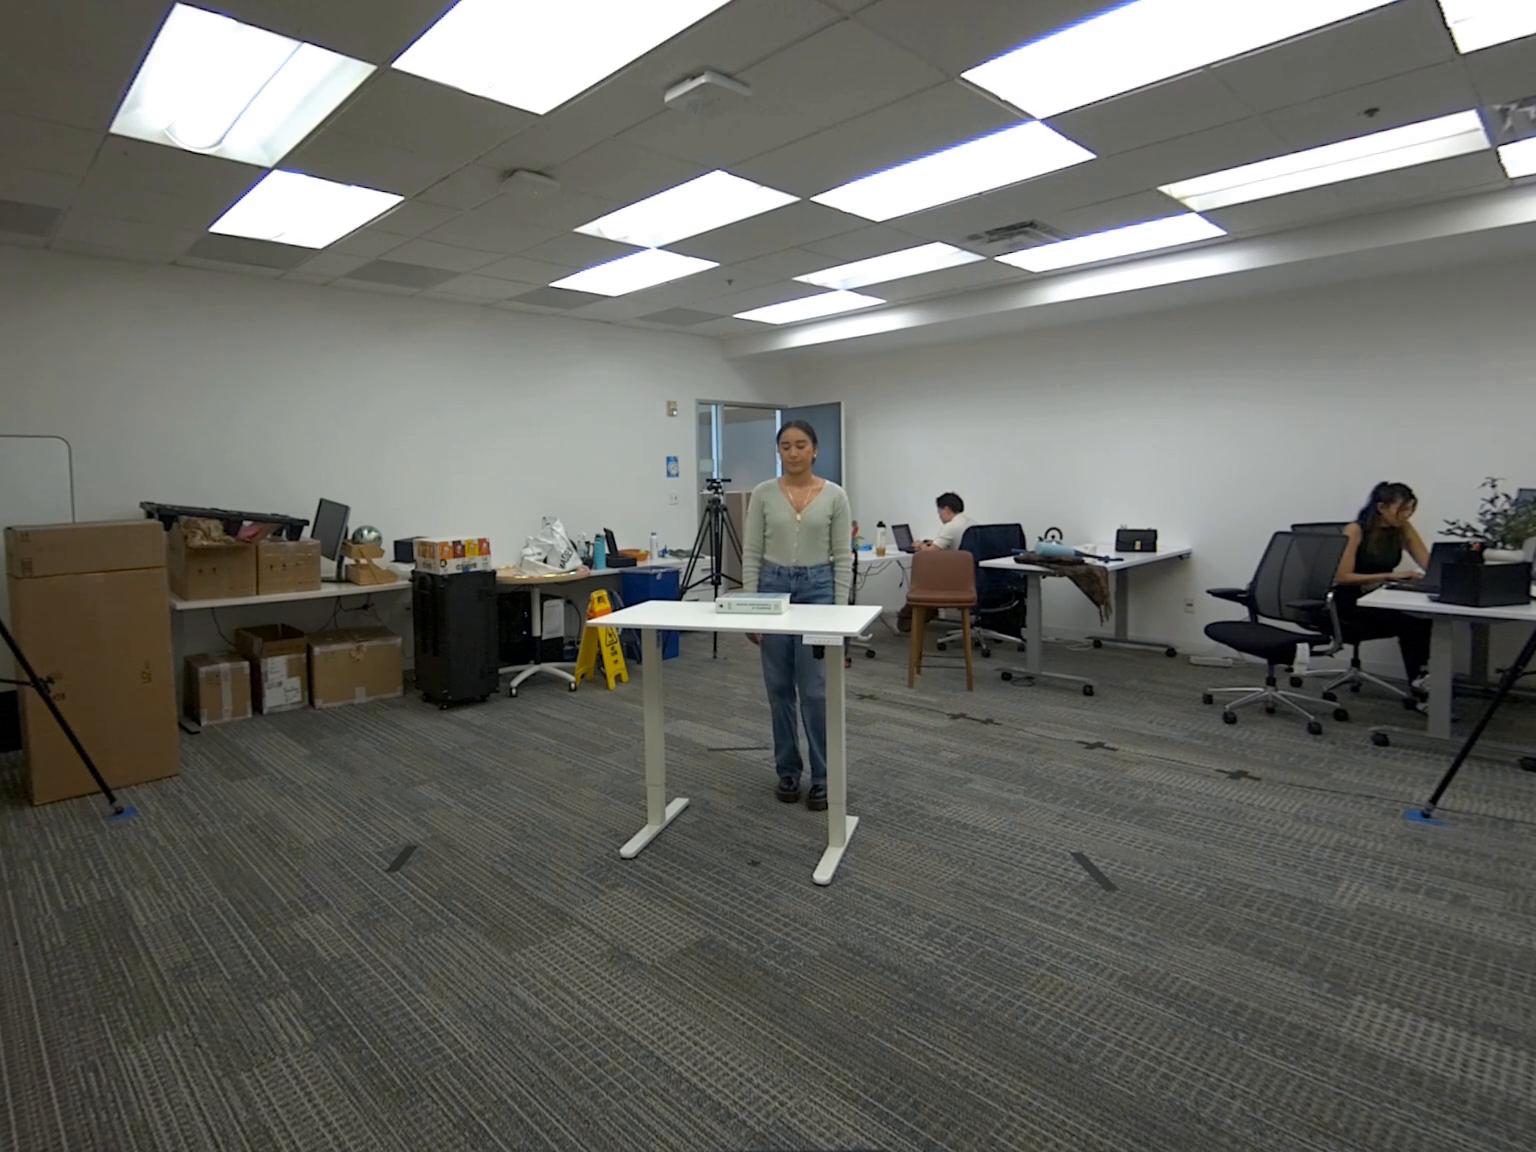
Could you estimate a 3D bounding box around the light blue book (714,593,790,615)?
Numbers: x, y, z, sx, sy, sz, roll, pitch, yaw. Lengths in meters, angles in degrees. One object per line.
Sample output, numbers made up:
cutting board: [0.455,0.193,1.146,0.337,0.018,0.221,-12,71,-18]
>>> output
light blue book: [-0.055,0.108,3.351,0.265,0.059,0.189,0,5,14]
